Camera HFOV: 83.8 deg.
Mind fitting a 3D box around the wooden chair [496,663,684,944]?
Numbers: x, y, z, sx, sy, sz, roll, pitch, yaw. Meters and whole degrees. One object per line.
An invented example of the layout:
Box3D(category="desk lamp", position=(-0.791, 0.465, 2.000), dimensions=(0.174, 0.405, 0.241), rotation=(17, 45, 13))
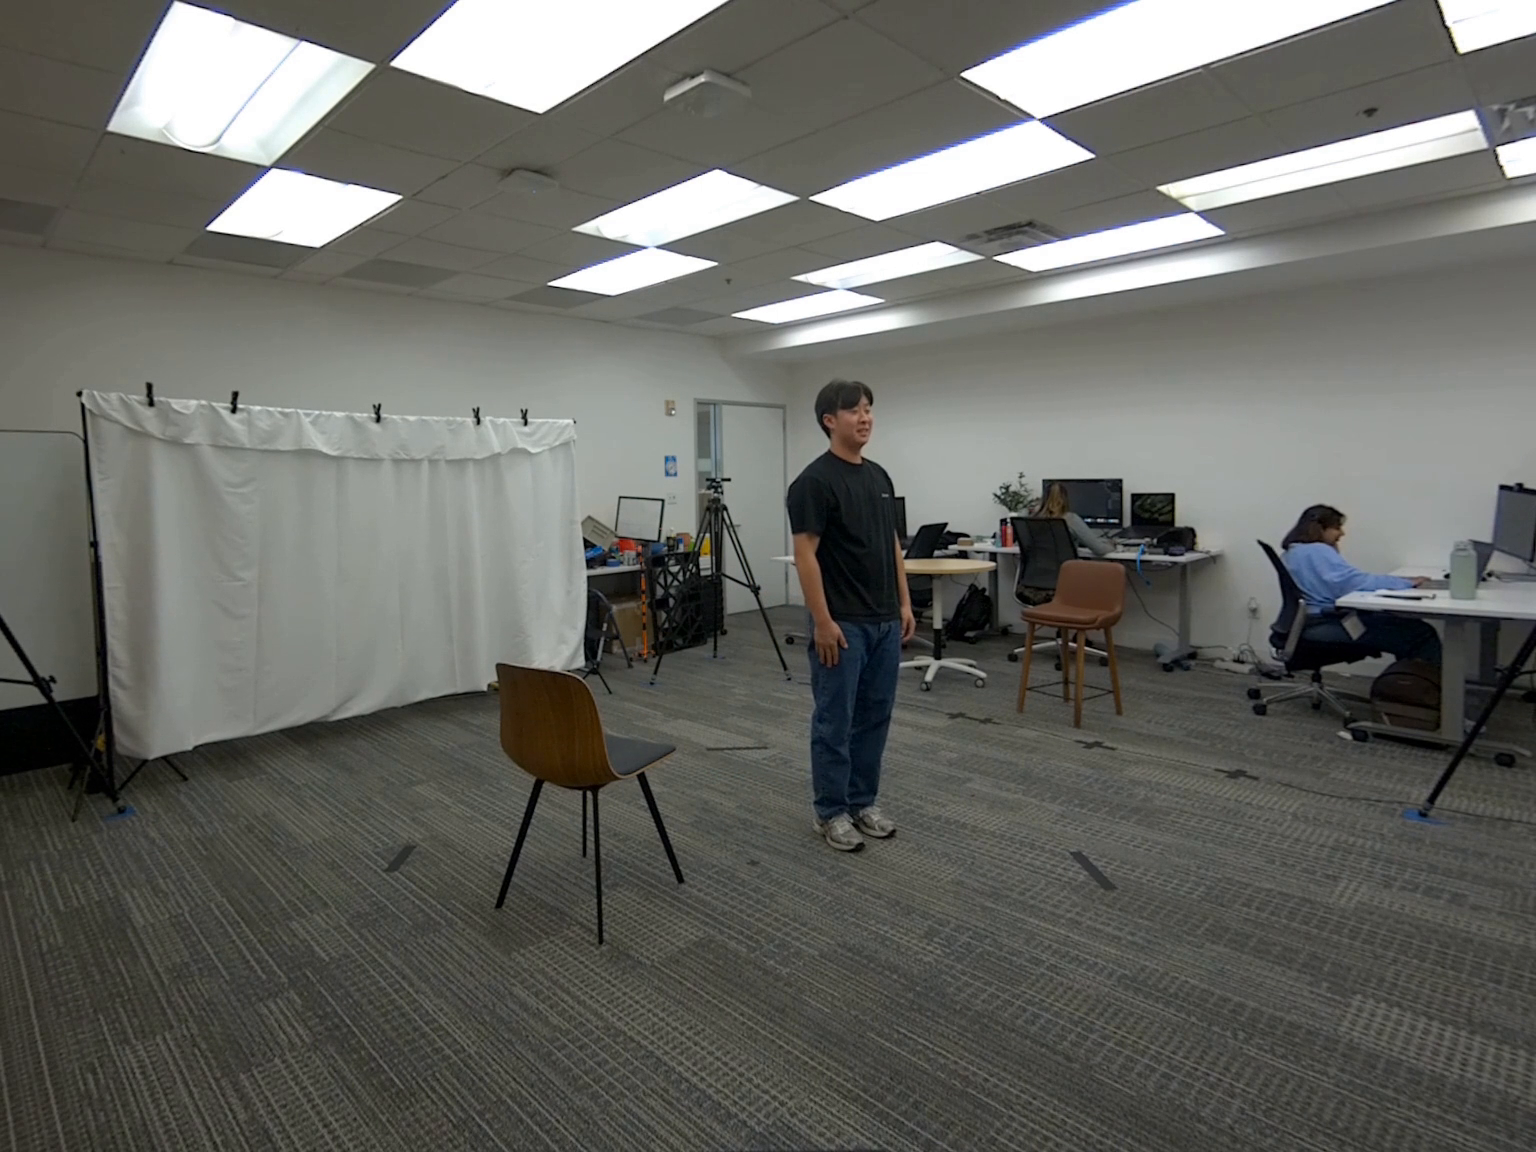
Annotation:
Box3D(category="wooden chair", position=(-0.593, 0.654, 2.858), dimensions=(0.491, 0.871, 0.513), rotation=(1, 9, 30))
